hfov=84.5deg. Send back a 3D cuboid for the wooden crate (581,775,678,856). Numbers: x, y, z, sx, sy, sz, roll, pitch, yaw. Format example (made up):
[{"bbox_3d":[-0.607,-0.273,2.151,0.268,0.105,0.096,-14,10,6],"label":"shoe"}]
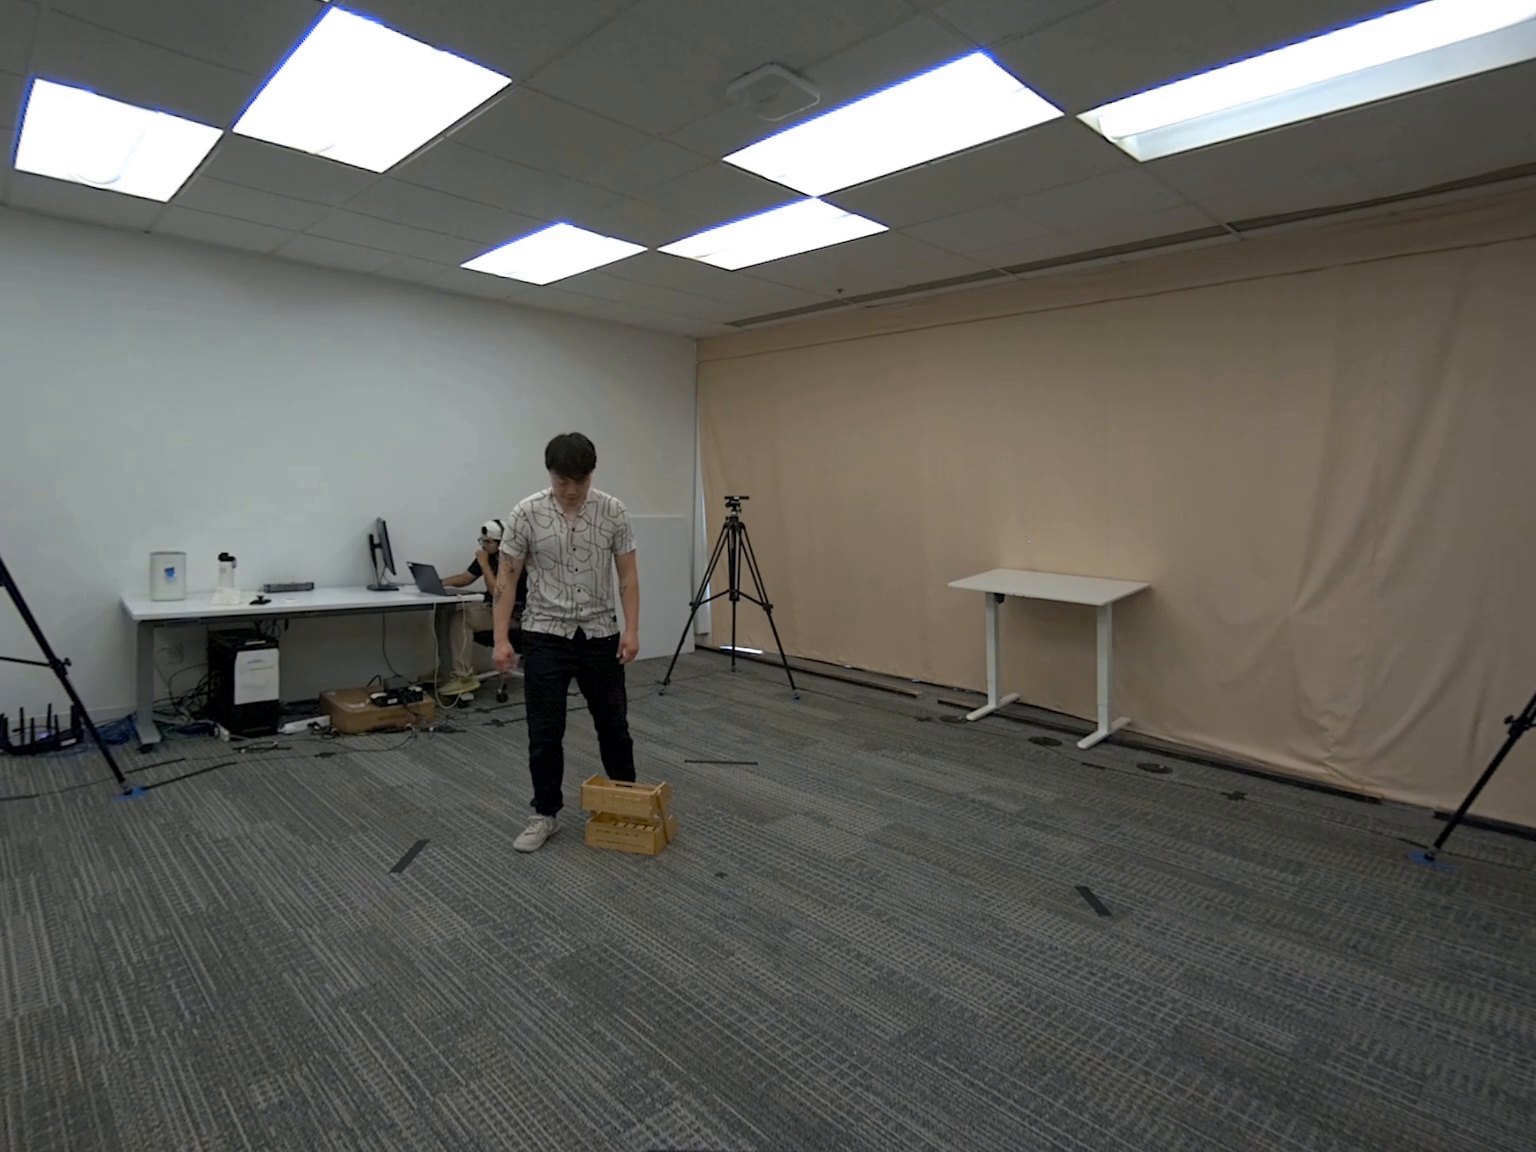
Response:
[{"bbox_3d":[-0.565,0.935,3.385,0.328,0.272,0.299,3,4,15],"label":"wooden crate"}]
